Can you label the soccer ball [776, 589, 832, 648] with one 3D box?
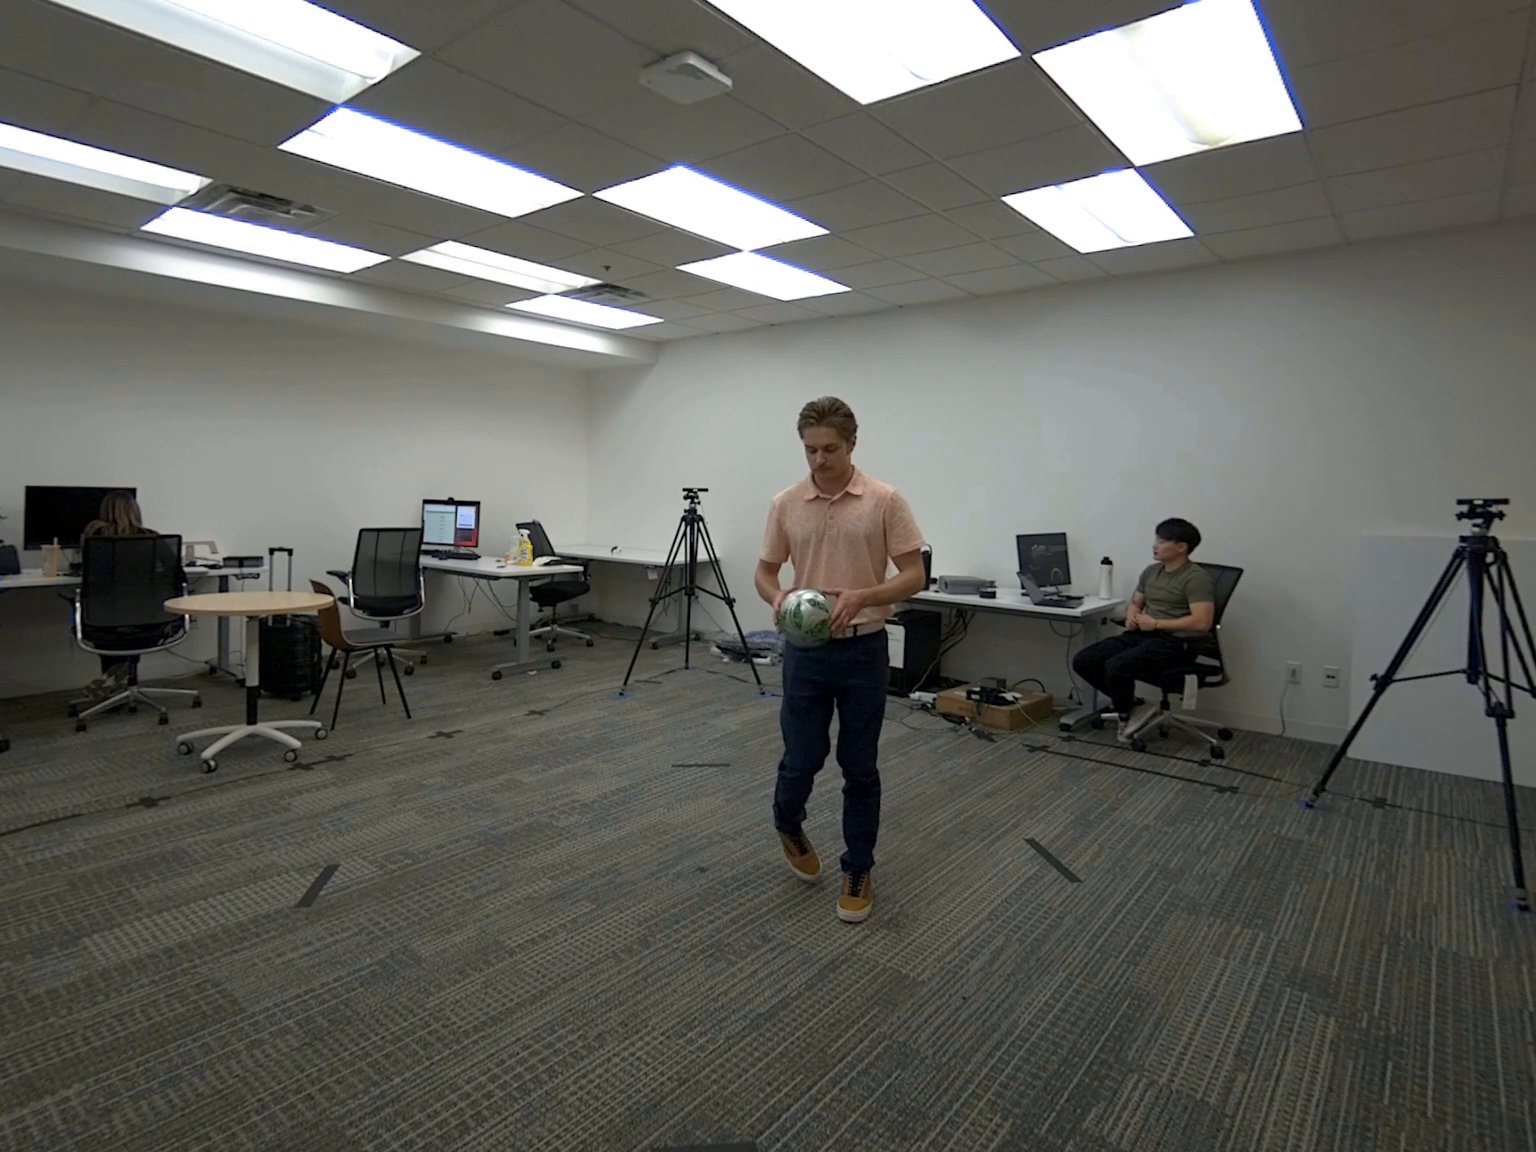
[{"bbox_3d":[0.111,0.123,2.645,0.187,0.187,0.188,1,4,-2],"label":"soccer ball"}]
